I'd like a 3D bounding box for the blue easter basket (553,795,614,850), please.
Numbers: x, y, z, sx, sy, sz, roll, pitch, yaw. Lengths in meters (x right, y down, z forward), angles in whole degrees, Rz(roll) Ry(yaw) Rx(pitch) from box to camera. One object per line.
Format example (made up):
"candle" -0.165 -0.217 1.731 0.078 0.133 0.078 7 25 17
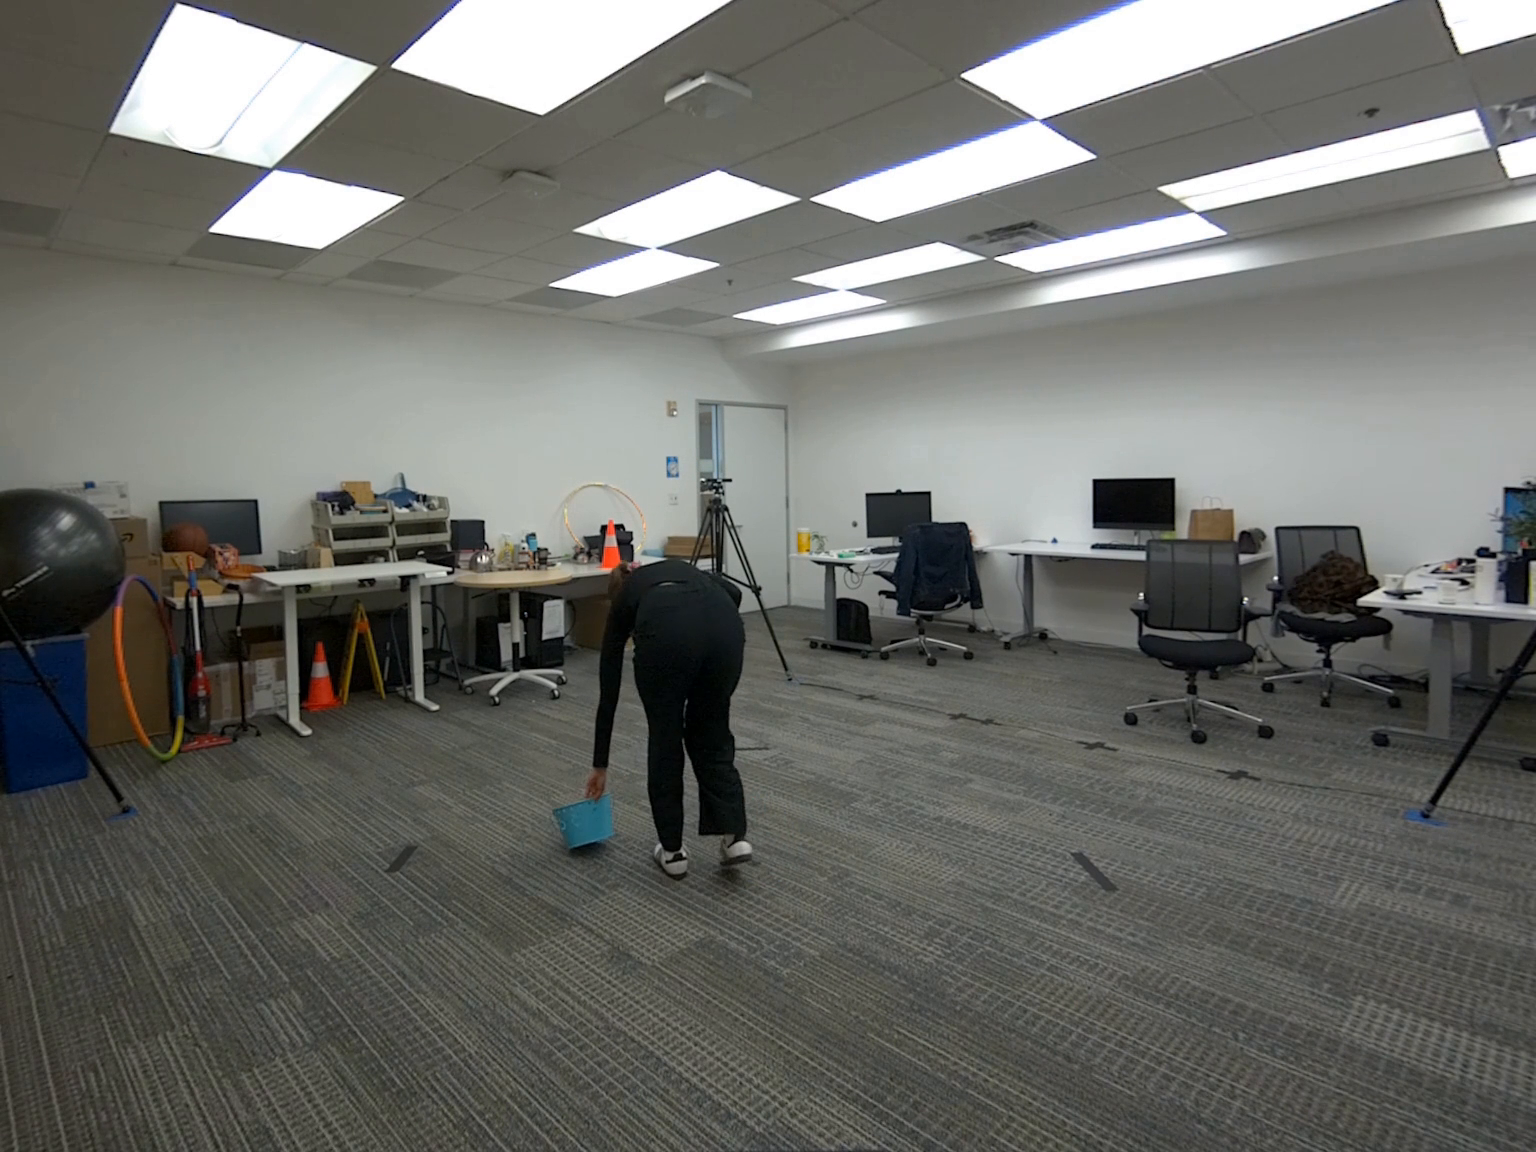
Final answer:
"blue easter basket" -0.690 0.934 3.255 0.243 0.158 0.241 -14 -12 -5
